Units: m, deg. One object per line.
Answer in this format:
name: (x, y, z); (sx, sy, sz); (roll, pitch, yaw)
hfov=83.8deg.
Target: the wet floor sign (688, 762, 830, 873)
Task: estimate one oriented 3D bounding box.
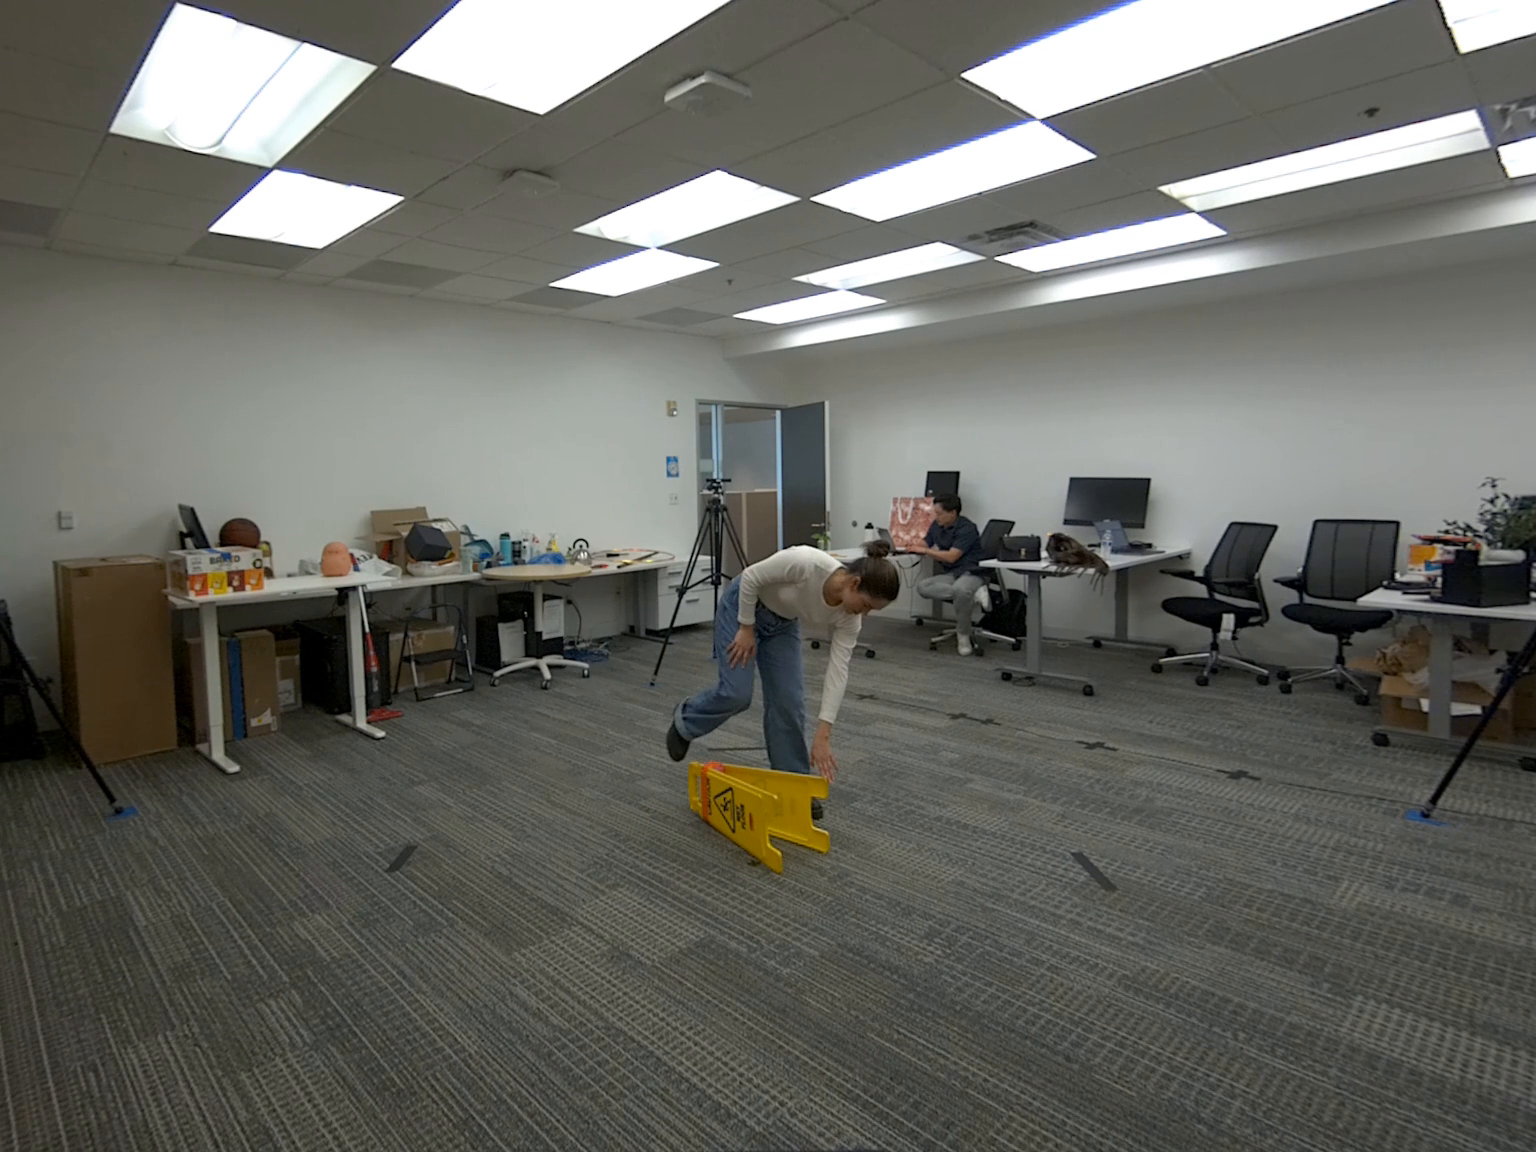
wet floor sign: (-0.098, 0.890, 3.335); (0.282, 0.281, 0.665); (-4, 5, -43)
